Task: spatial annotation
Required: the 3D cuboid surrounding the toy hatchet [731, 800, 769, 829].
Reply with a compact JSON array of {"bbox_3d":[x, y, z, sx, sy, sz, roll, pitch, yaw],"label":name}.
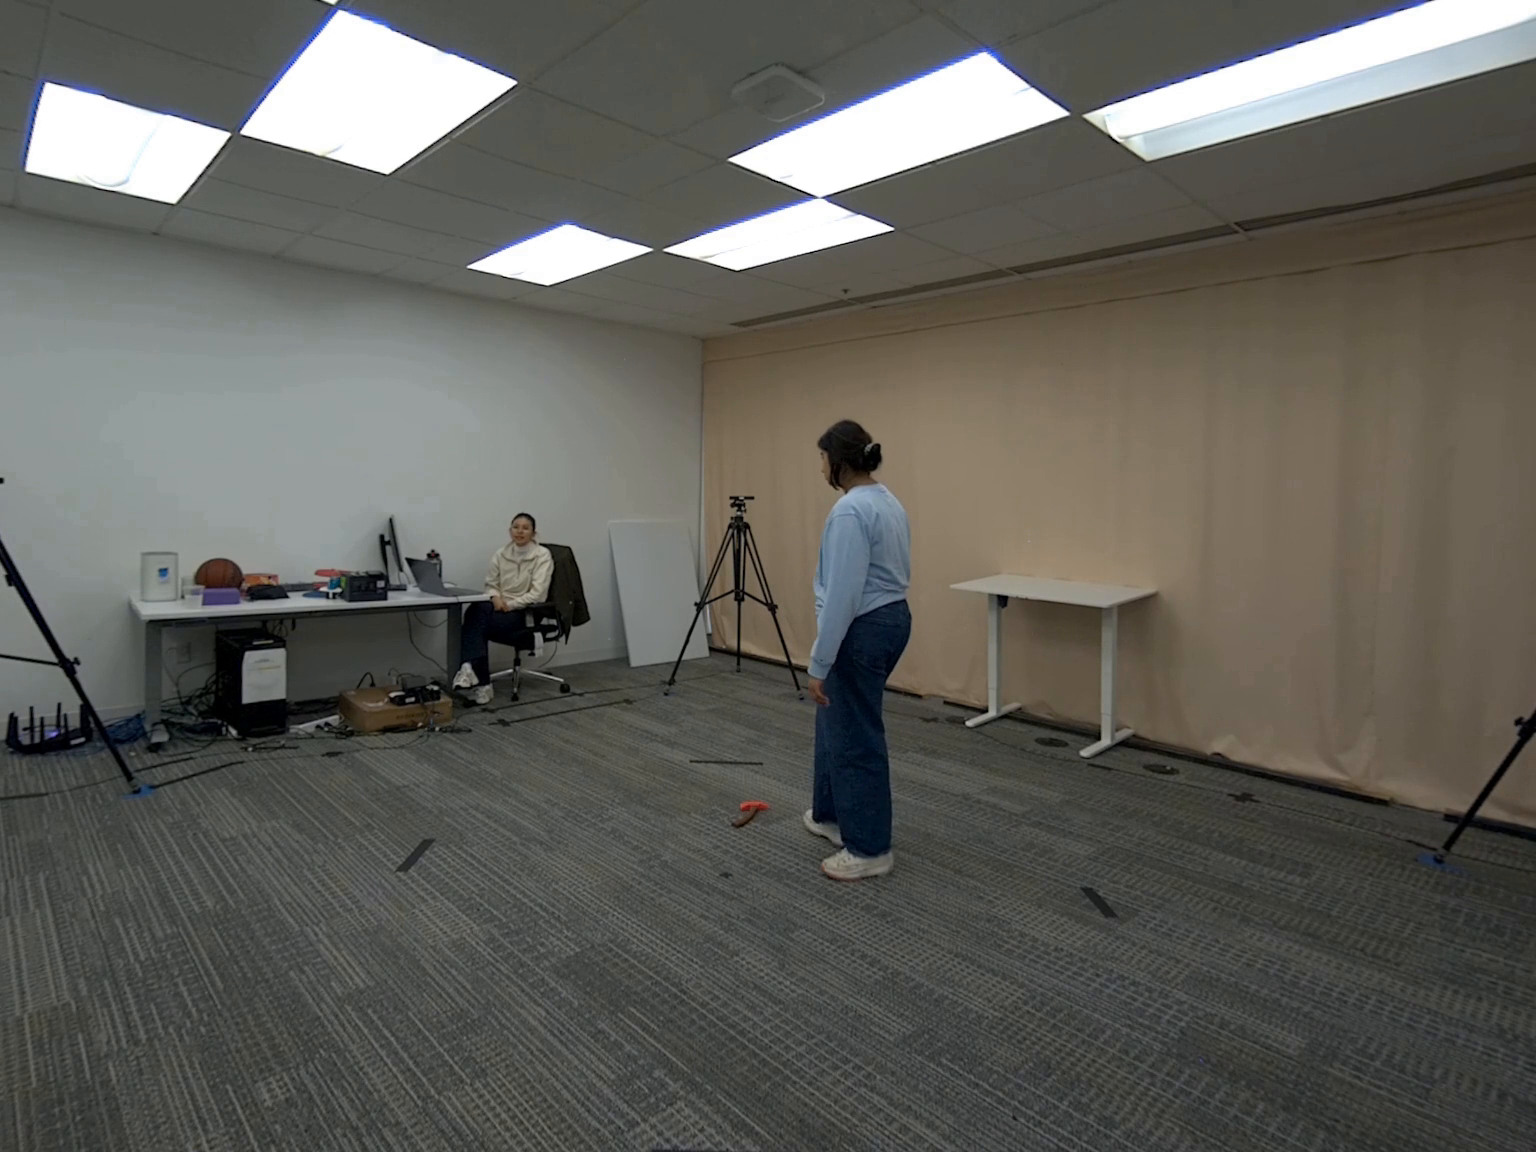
[{"bbox_3d":[-0.117,1.036,3.691,0.134,0.029,0.265,6,8,32],"label":"toy hatchet"}]
